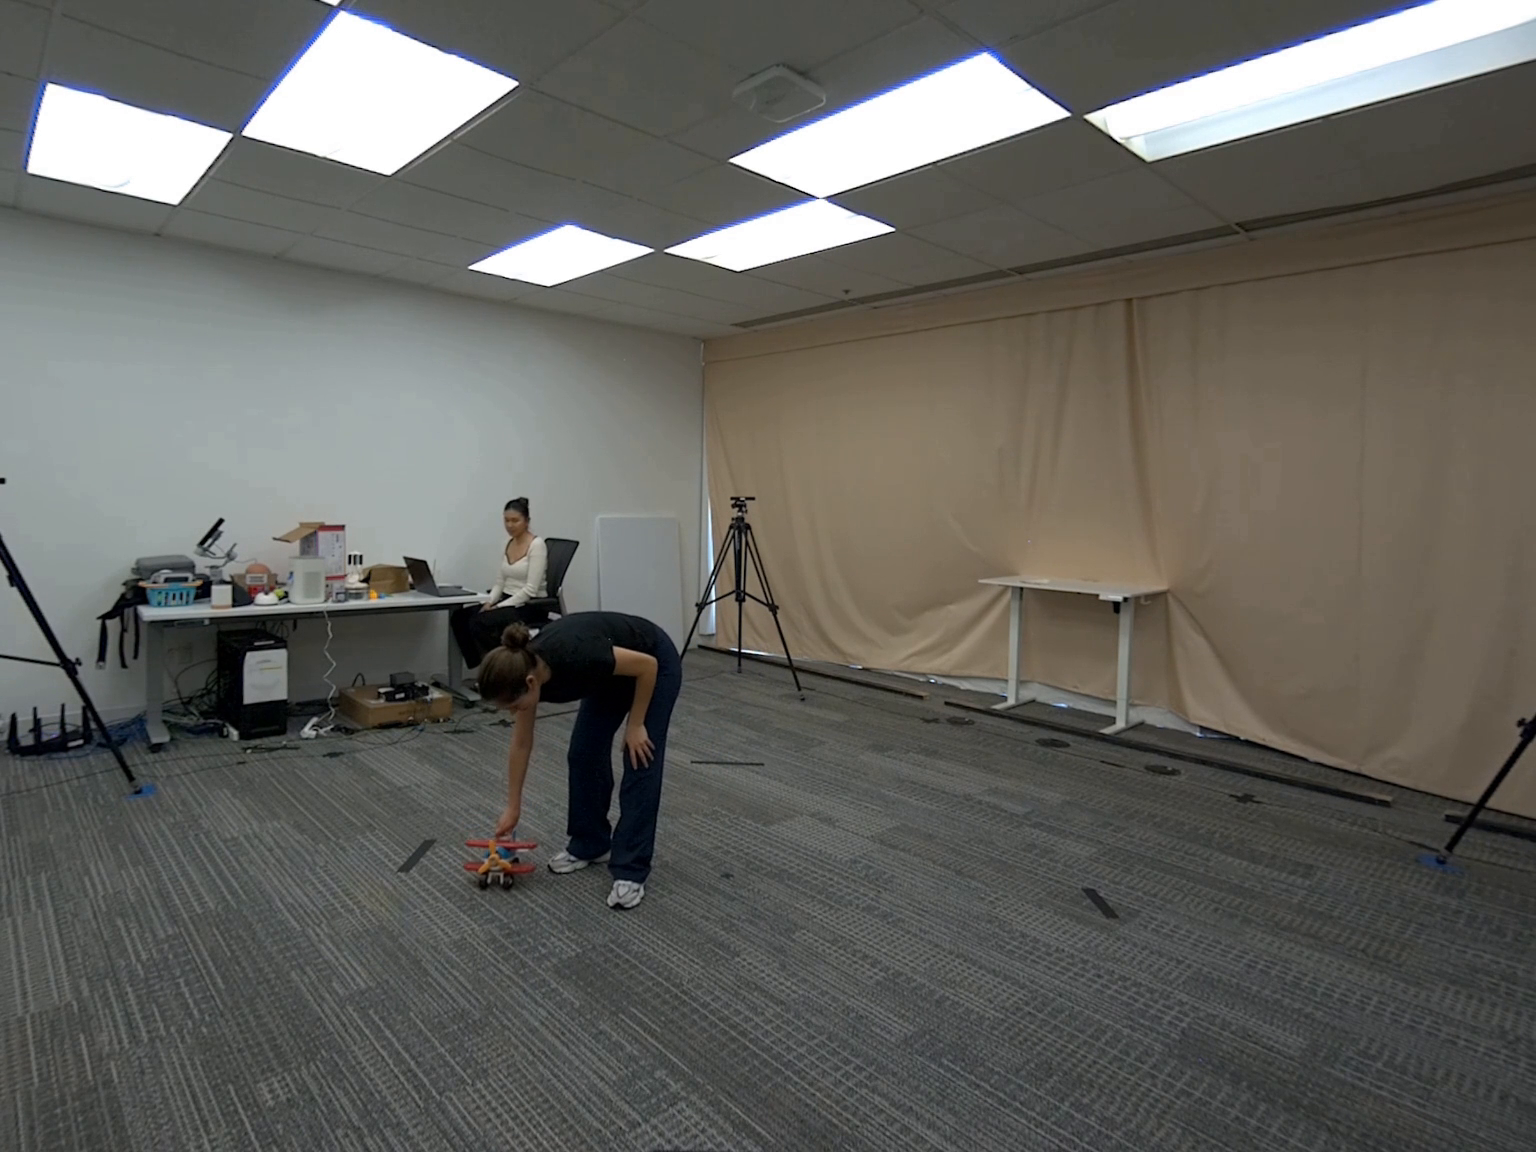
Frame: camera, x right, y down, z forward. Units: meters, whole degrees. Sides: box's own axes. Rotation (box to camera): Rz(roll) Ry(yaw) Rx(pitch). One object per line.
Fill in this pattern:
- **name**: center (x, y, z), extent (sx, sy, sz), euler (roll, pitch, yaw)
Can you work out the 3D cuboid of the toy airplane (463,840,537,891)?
- **toy airplane**: center (-0.976, 1.019, 3.043), extent (0.246, 0.156, 0.265), euler (0, 4, -29)
